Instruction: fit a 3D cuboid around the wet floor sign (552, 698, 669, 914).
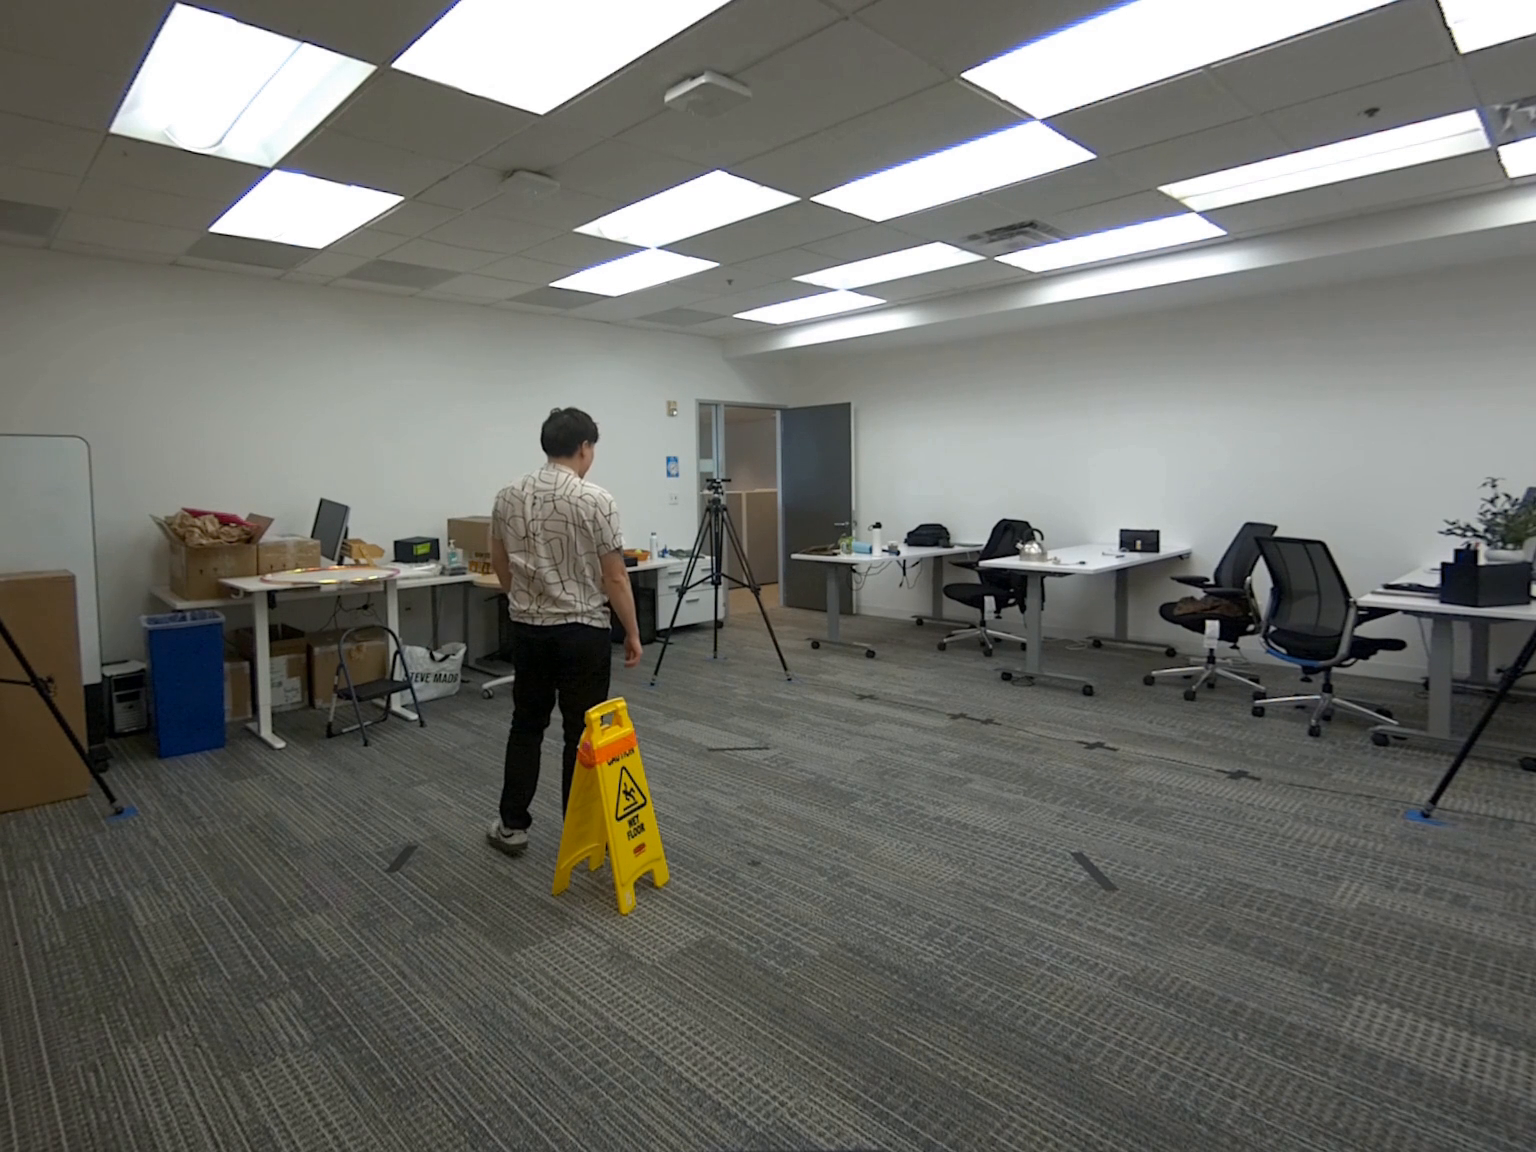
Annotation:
[{"bbox_3d":[-0.540,0.750,2.916,0.297,0.643,0.276,2,6,28],"label":"wet floor sign"}]
